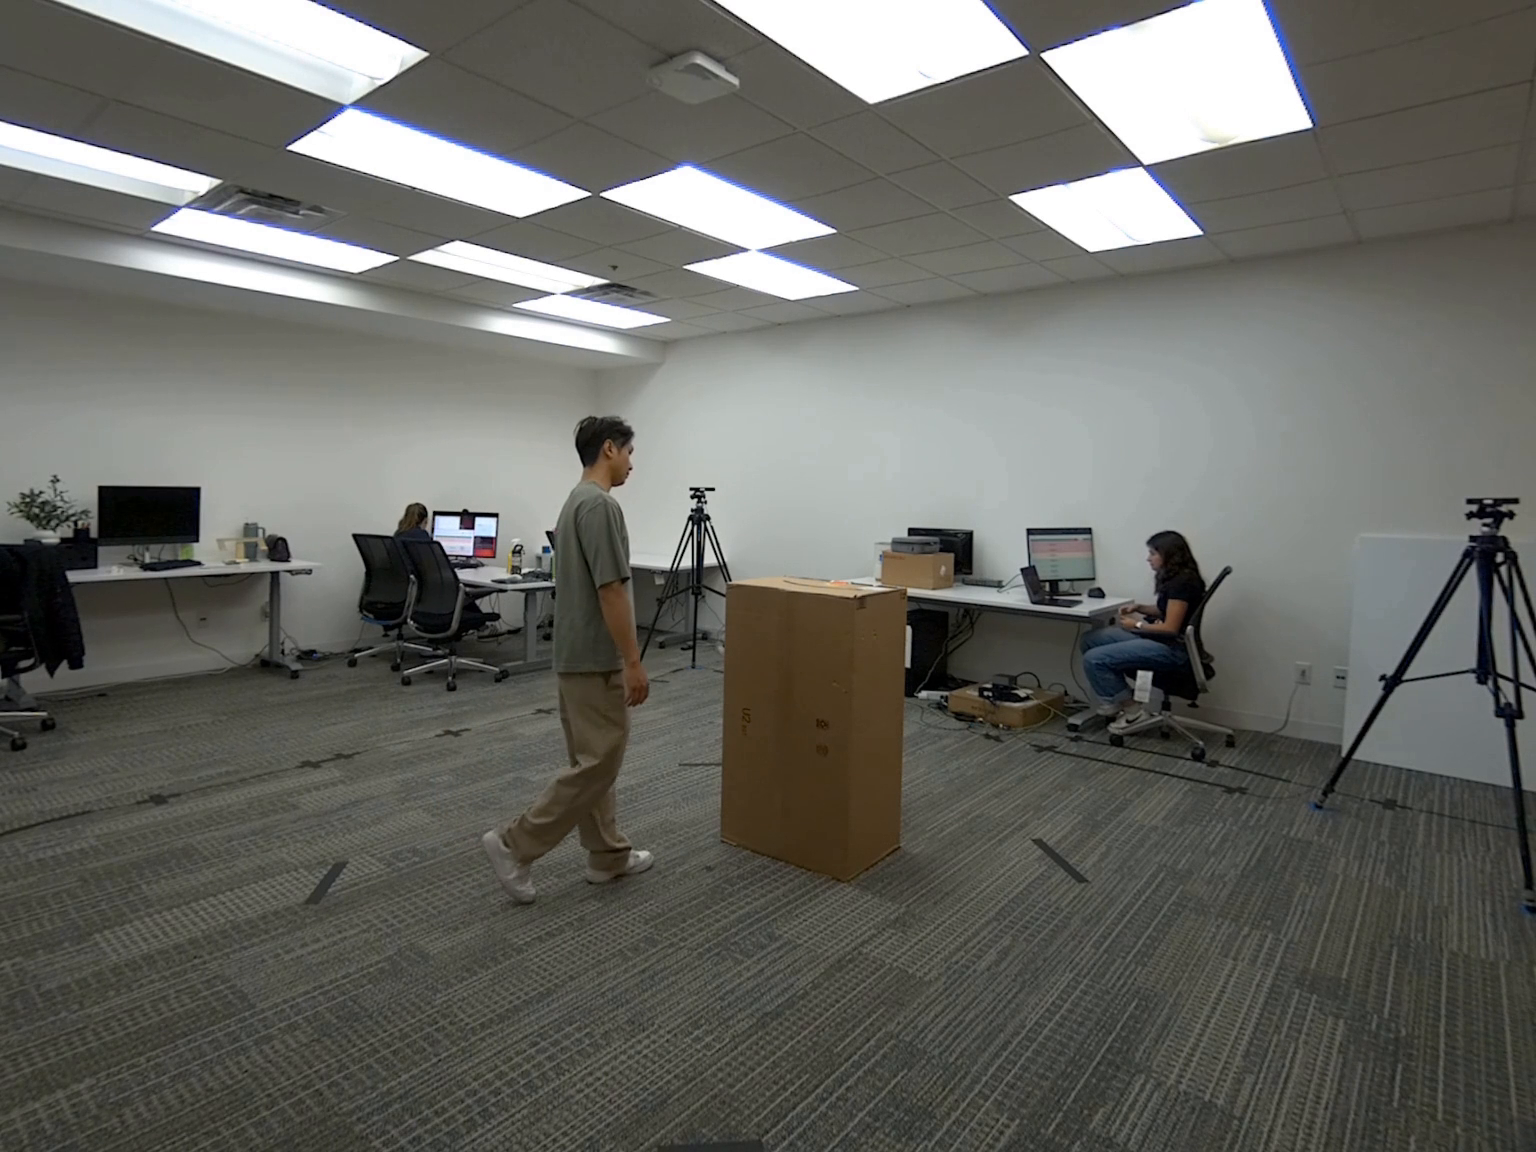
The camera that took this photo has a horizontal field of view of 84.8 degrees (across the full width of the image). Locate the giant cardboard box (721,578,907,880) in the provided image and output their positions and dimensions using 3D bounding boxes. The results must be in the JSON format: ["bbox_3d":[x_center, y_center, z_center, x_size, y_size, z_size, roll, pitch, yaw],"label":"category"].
[{"bbox_3d":[0.172,0.544,3.337,0.596,1.023,0.414,4,4,36],"label":"giant cardboard box"}]
